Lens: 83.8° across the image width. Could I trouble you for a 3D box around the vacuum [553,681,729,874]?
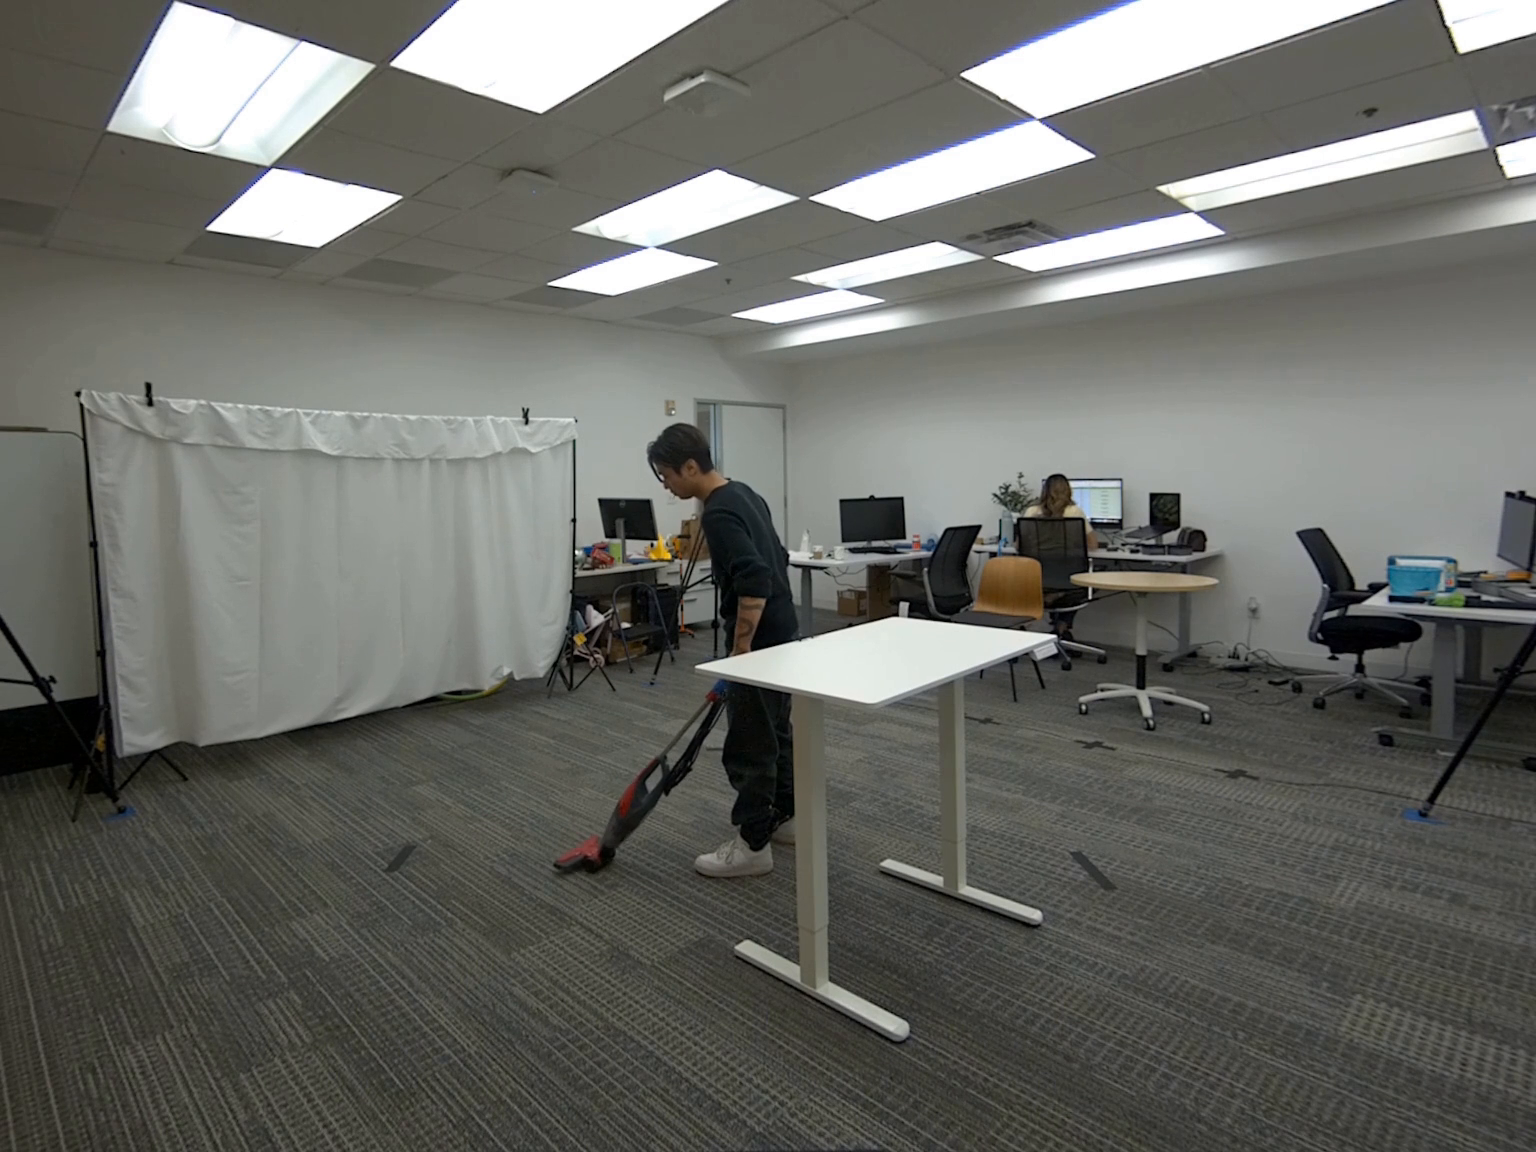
[{"bbox_3d":[-0.357,0.669,2.949,0.146,1.048,0.250,44,21,7],"label":"vacuum"}]
